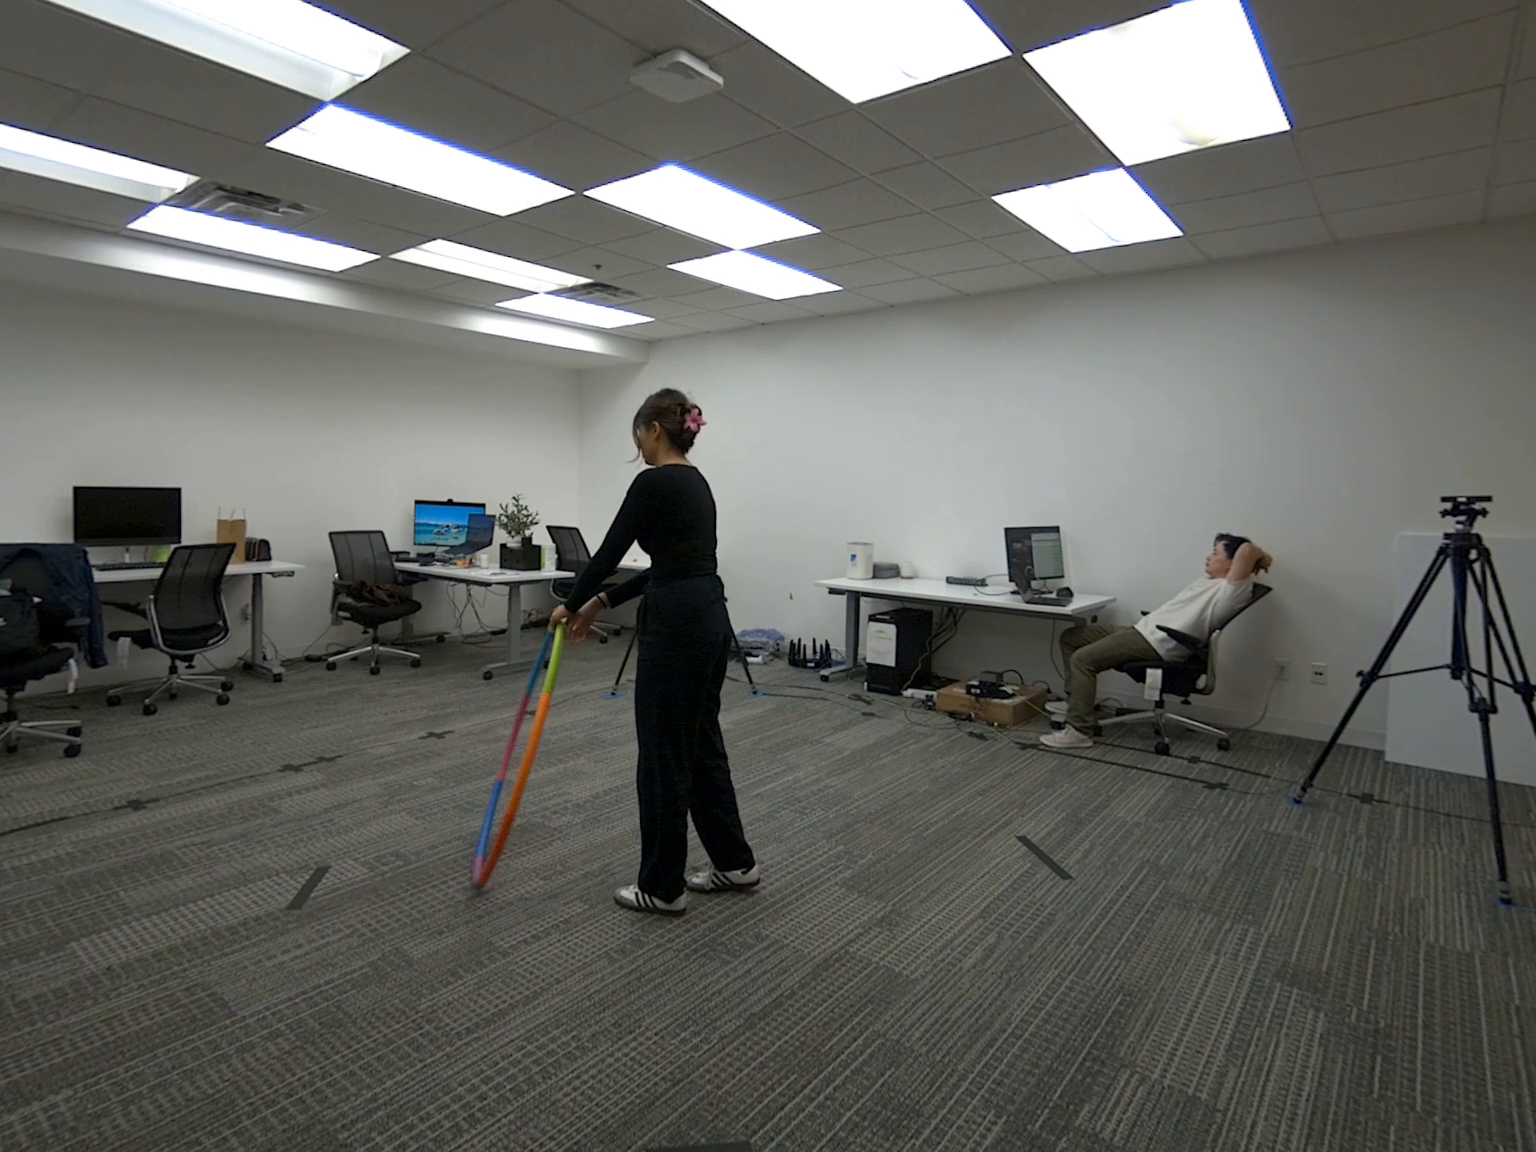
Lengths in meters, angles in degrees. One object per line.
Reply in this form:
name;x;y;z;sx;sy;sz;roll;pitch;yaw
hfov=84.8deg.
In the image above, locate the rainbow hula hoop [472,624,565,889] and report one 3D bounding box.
rainbow hula hoop;-0.908;0.597;3.048;0.035;0.979;0.996;19;-1;-16
